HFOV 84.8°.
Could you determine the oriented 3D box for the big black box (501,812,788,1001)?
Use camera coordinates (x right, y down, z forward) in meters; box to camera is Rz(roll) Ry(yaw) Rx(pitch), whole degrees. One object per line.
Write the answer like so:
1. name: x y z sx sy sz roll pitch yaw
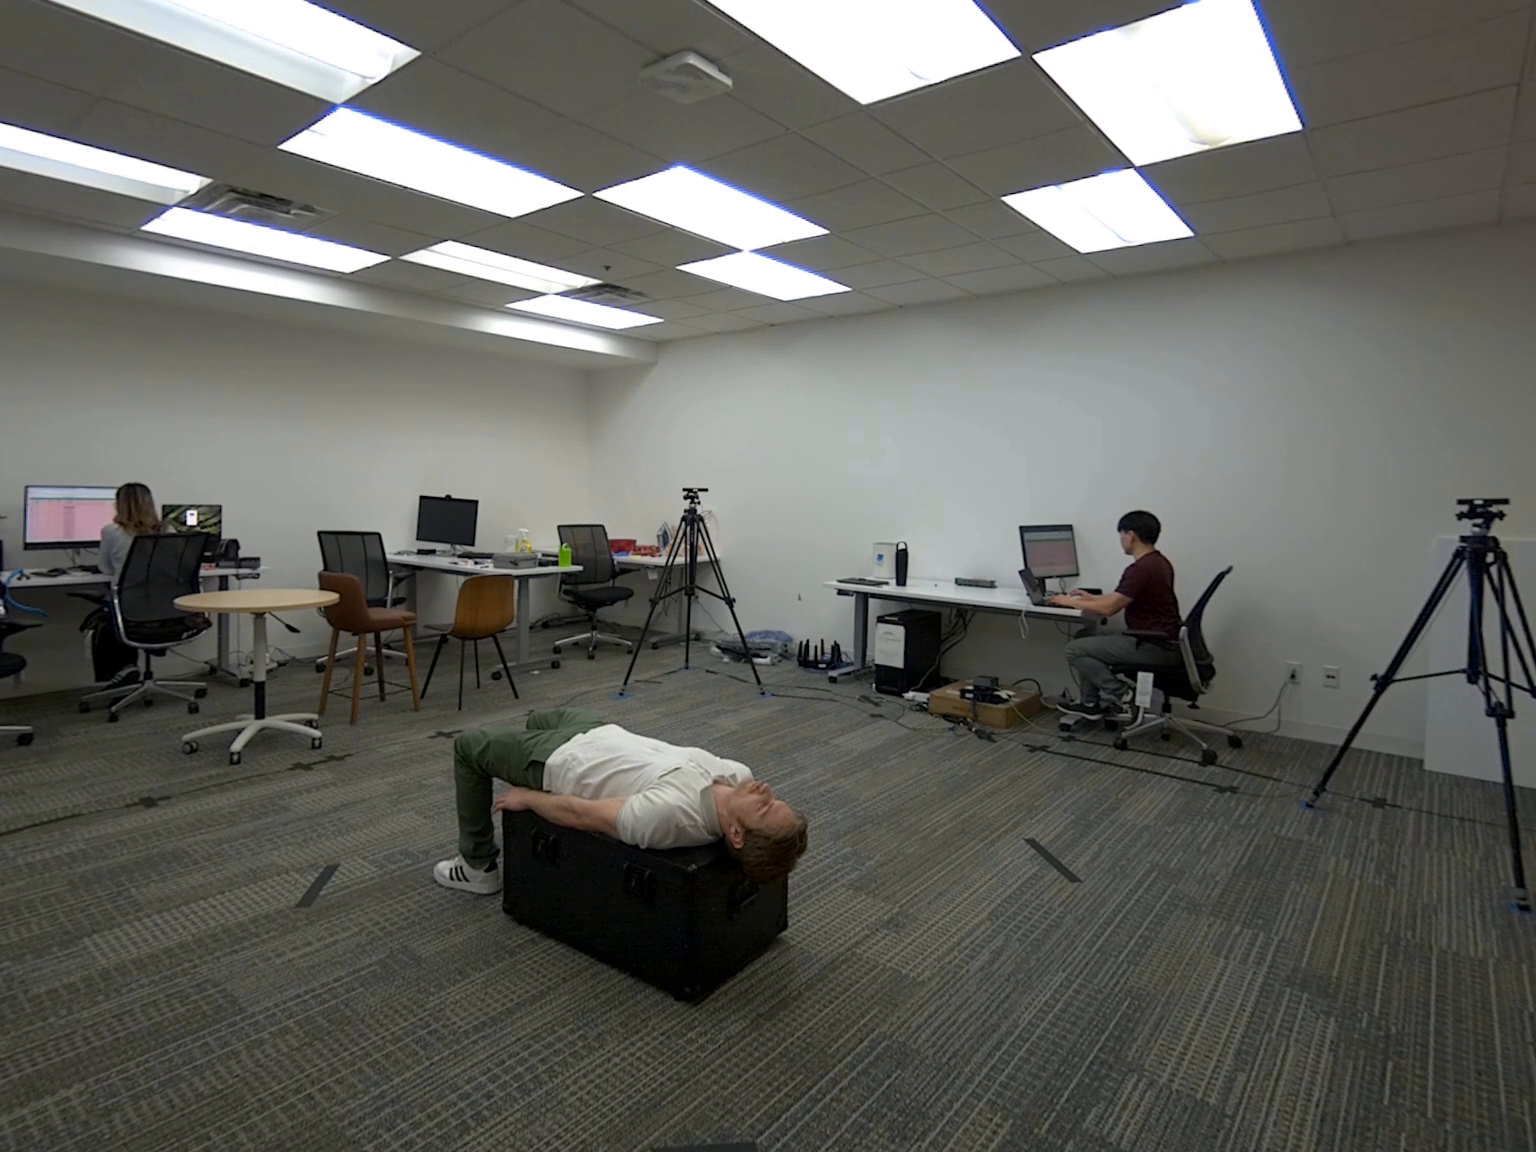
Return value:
1. big black box: -0.427 0.918 2.702 0.896 0.384 0.509 4 6 35
